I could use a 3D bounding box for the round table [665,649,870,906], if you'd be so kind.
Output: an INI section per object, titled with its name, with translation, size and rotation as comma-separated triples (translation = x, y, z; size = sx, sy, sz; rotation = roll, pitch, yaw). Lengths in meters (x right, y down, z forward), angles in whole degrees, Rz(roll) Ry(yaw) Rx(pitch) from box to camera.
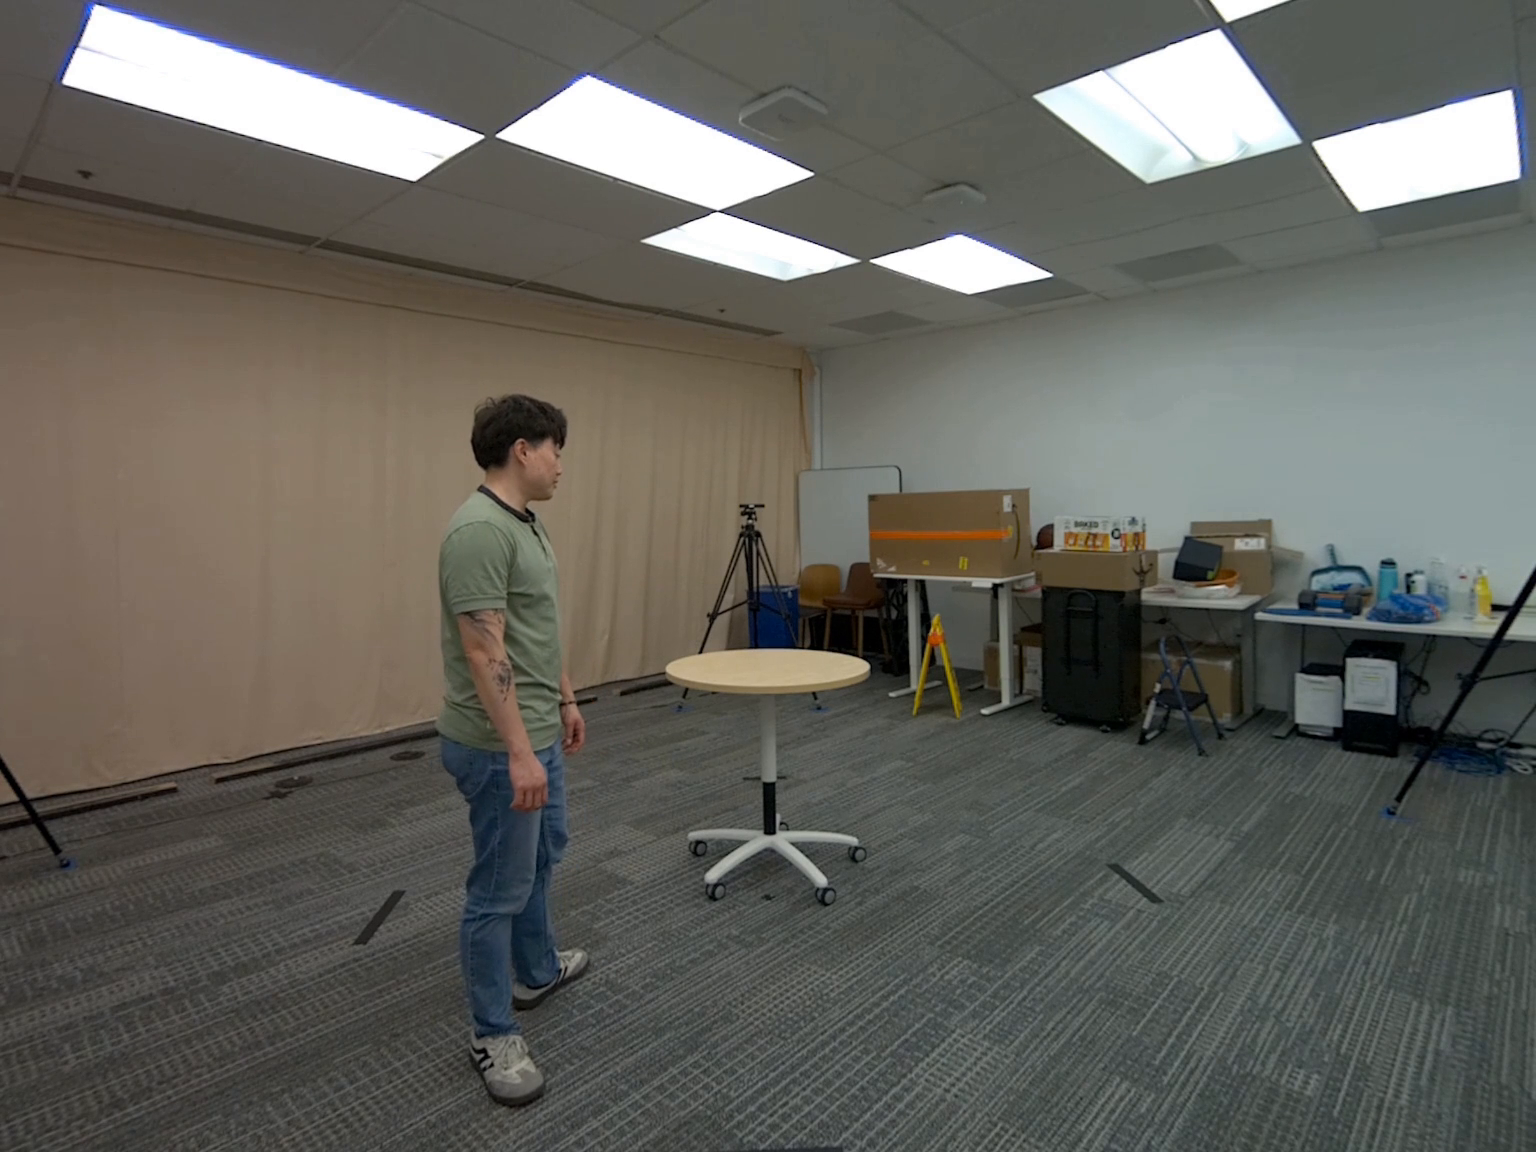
[round table]
translation = 0.009, 0.732, 3.190
size = 0.763, 0.792, 0.766
rotation = -1, 3, -2
